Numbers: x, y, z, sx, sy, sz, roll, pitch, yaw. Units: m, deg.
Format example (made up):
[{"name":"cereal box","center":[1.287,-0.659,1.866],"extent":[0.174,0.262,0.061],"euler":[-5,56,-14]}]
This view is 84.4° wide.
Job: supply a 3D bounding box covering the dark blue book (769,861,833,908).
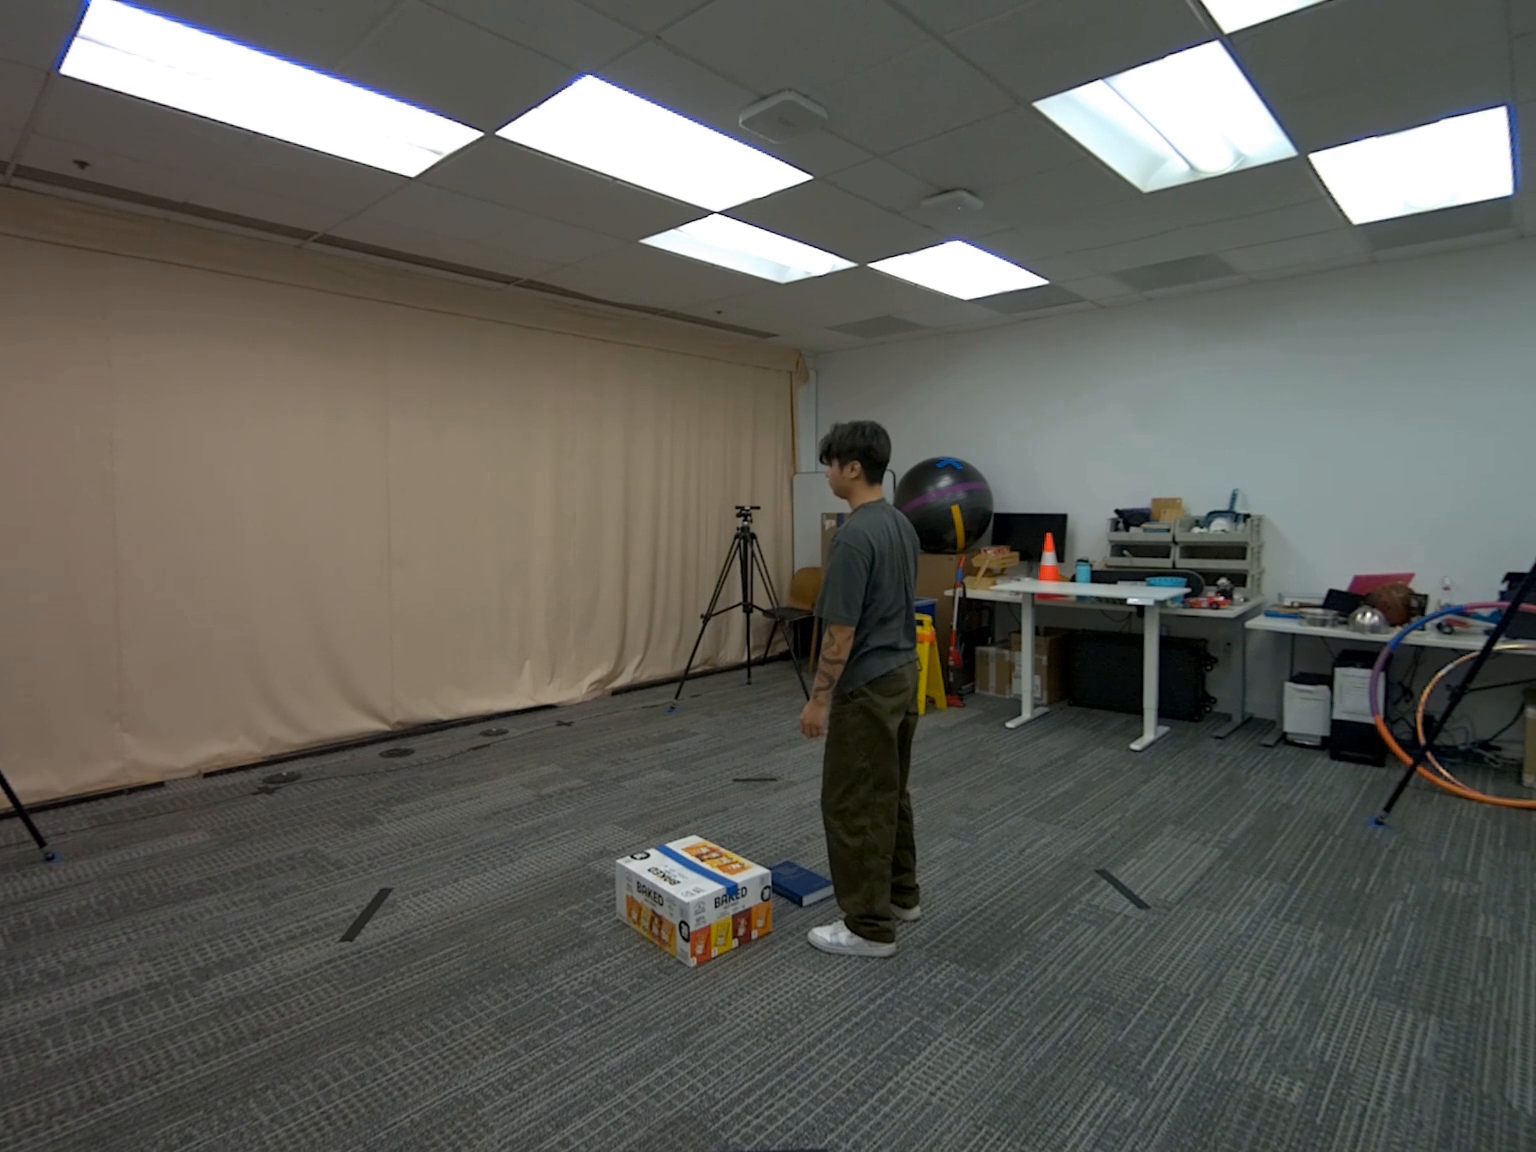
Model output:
[{"name":"dark blue book","center":[0.104,1.118,3.058],"extent":[0.158,0.045,0.253],"euler":[-4,7,-41]}]
